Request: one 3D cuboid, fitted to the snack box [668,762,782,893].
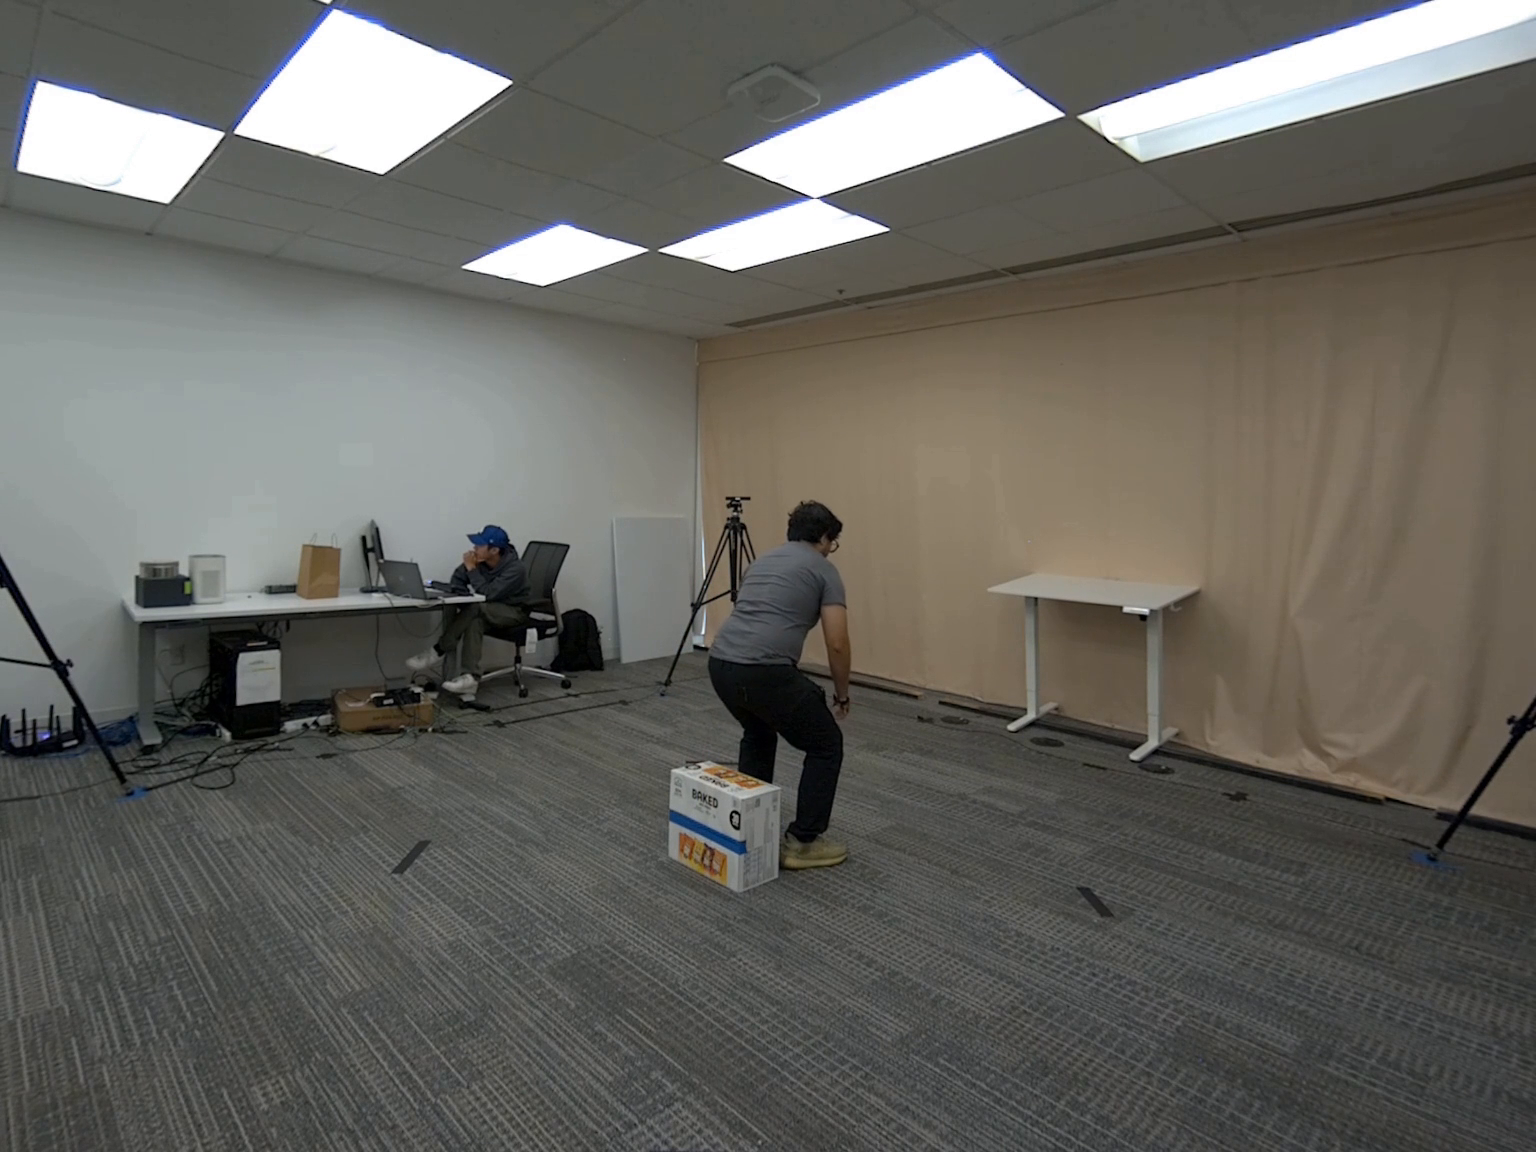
[{"bbox_3d":[-0.175,0.931,3.165,0.201,0.339,0.416,-1,5,-44],"label":"snack box"}]
